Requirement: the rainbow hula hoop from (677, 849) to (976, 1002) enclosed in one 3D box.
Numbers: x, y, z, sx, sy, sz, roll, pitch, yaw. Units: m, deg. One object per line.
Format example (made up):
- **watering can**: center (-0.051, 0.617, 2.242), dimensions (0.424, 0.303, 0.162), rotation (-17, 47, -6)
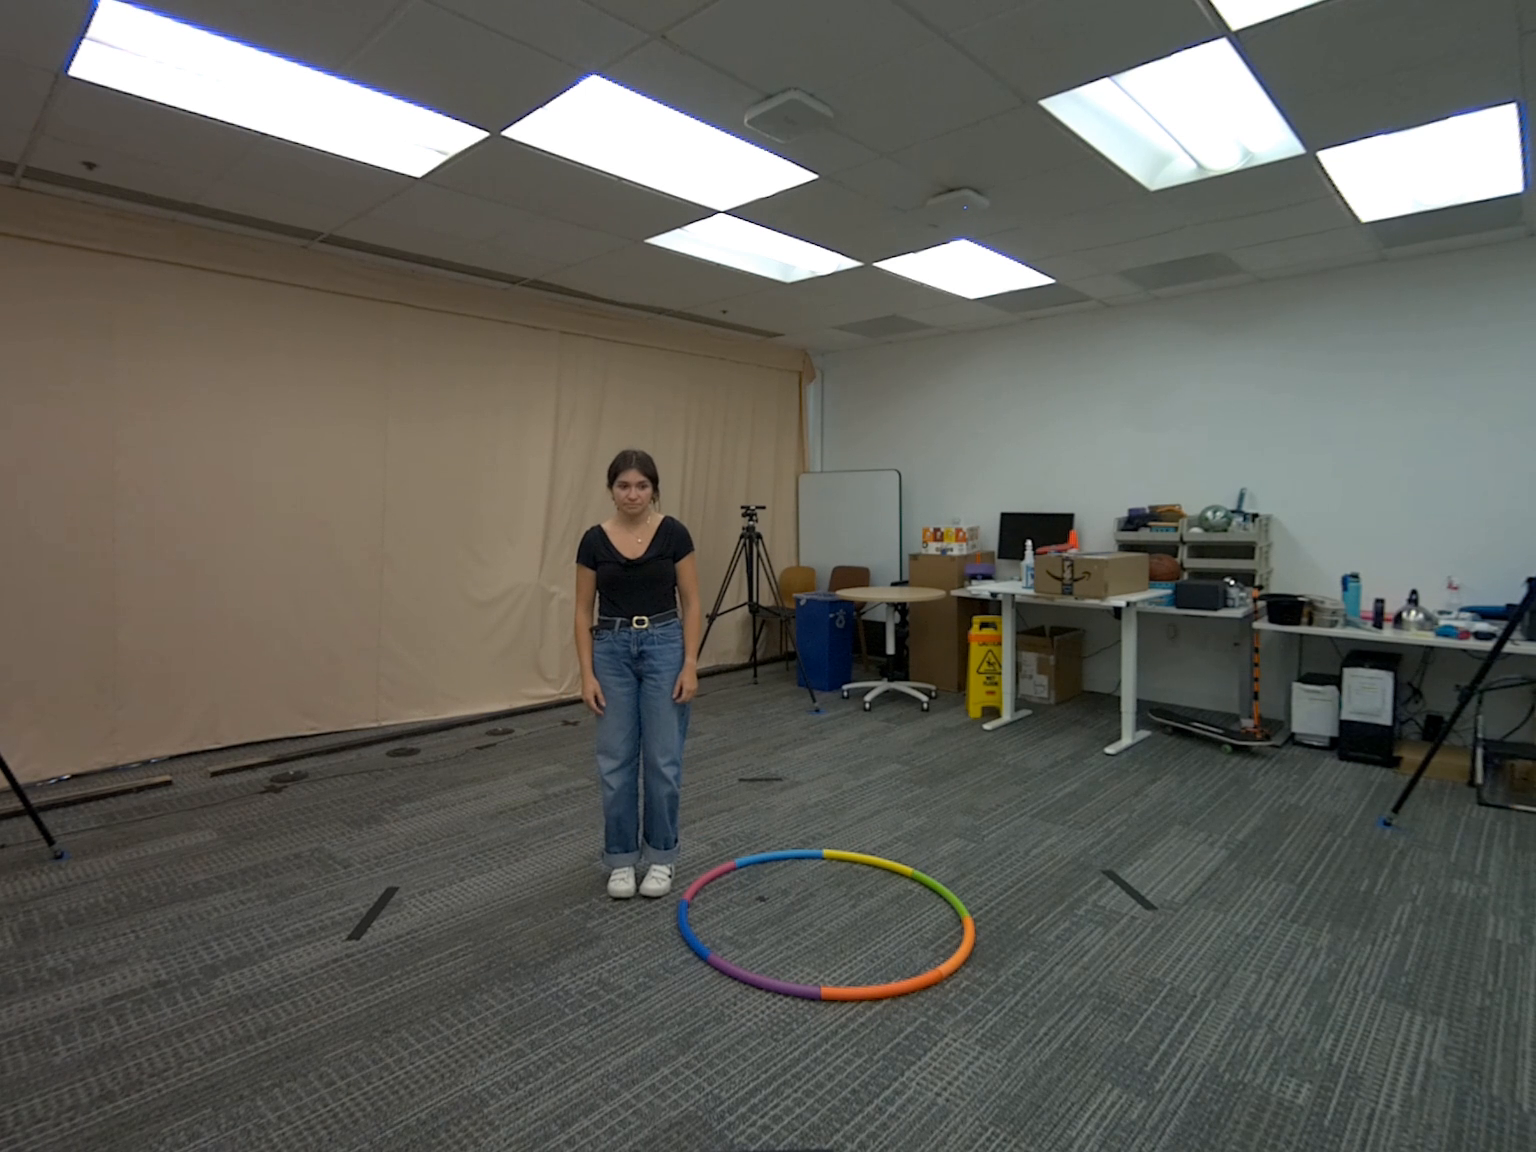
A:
- **rainbow hula hoop**: center (0.188, 1.124, 2.851), dimensions (0.978, 0.035, 0.982), rotation (-1, 5, -2)
